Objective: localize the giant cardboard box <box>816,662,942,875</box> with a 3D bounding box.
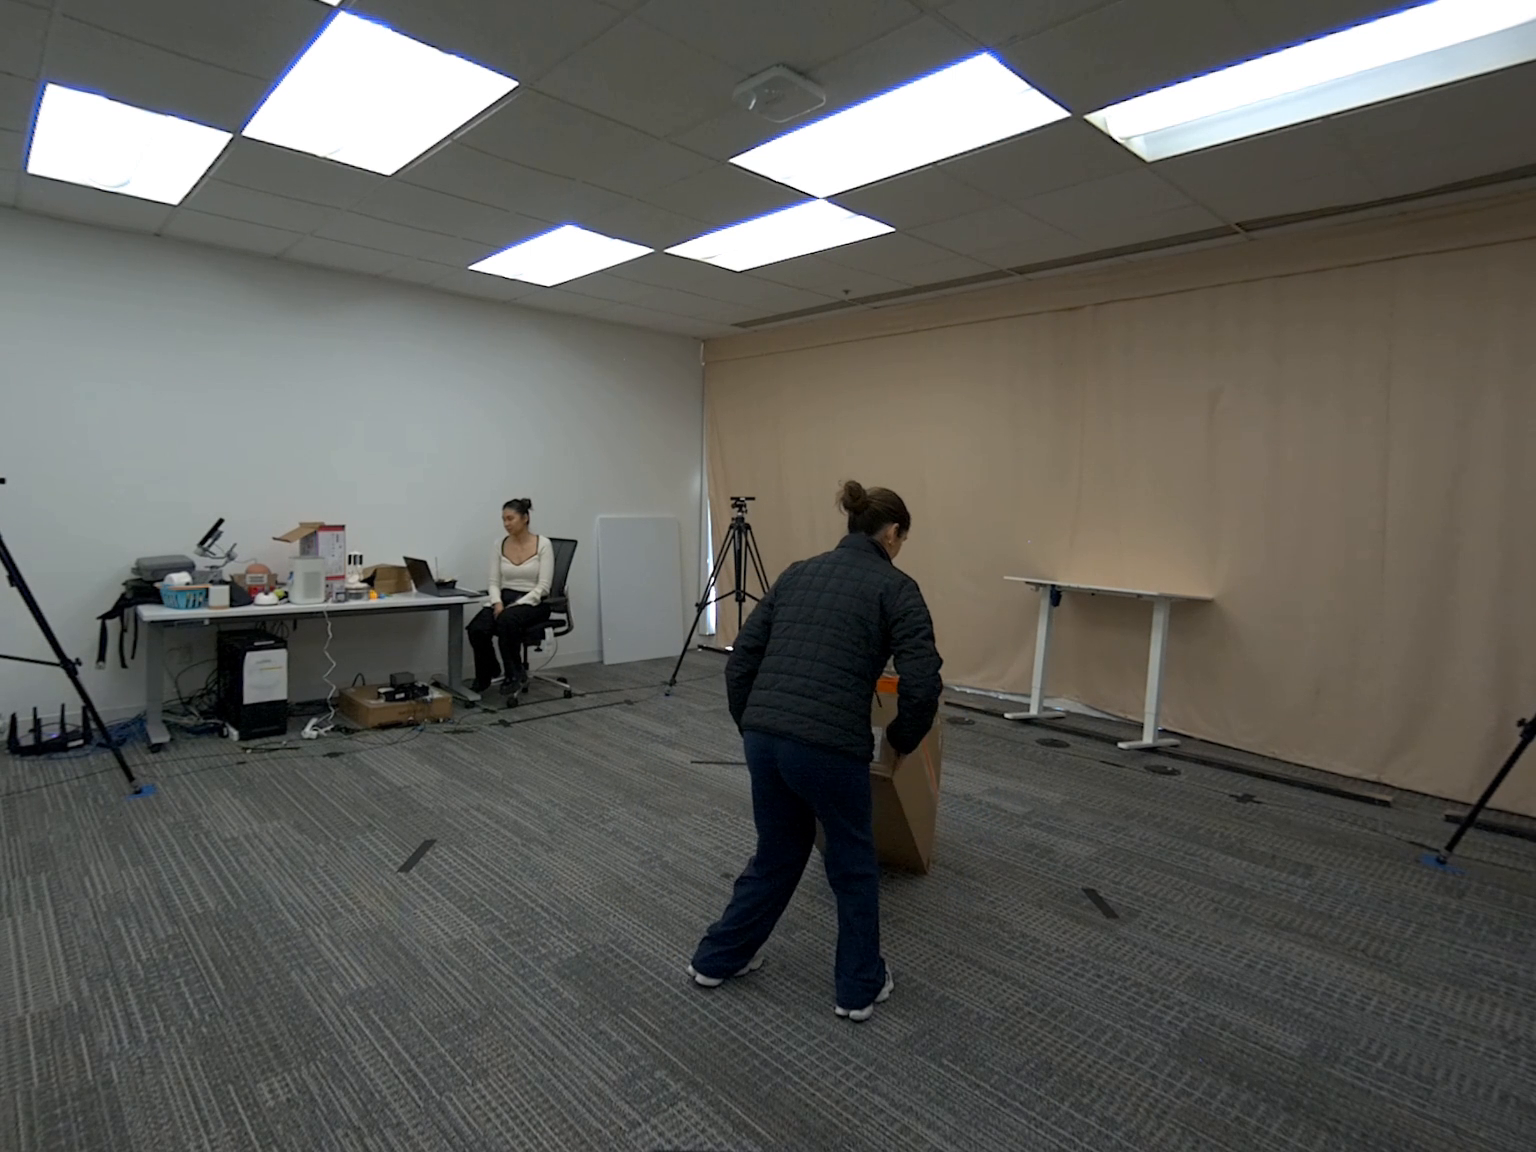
[{"bbox_3d":[0.342,0.601,2.981,0.454,0.591,0.997,4,-32,19],"label":"giant cardboard box"}]
